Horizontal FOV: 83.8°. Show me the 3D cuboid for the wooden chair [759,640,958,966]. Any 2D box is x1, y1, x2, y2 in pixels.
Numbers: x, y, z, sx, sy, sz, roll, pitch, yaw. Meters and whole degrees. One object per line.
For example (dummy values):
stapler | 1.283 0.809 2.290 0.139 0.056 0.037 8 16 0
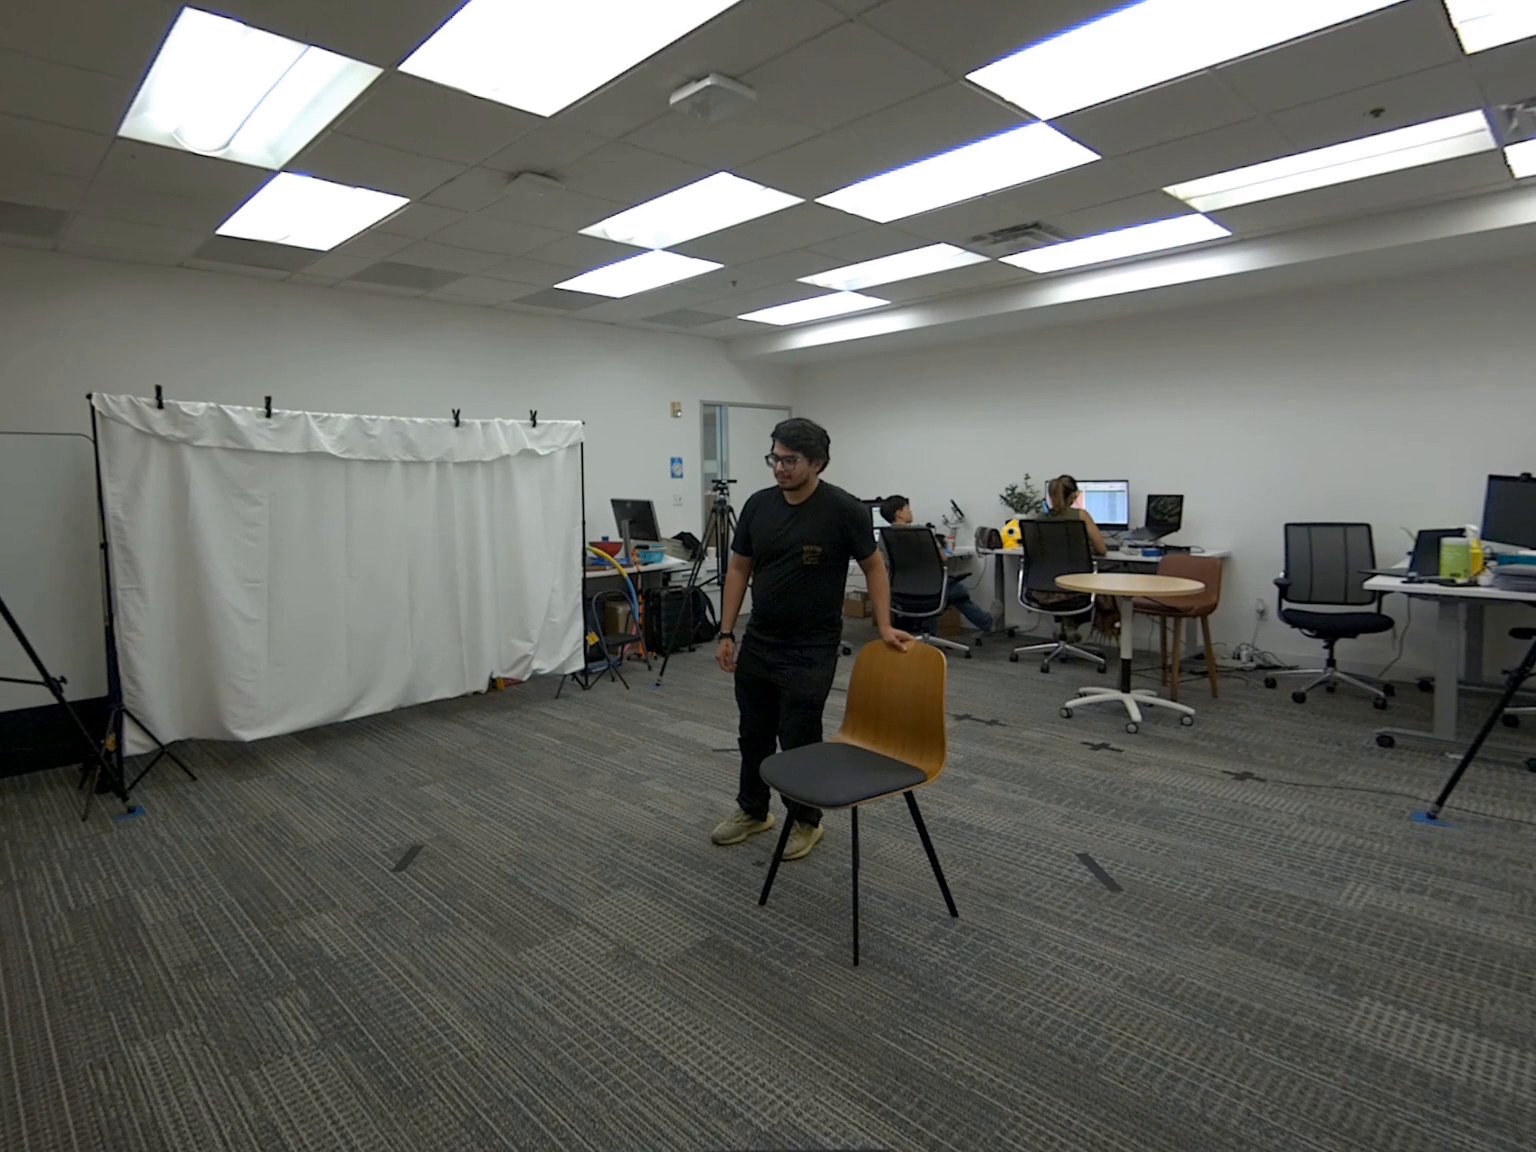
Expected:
wooden chair | 0.279 0.661 2.715 0.508 0.877 0.492 1 2 -38
